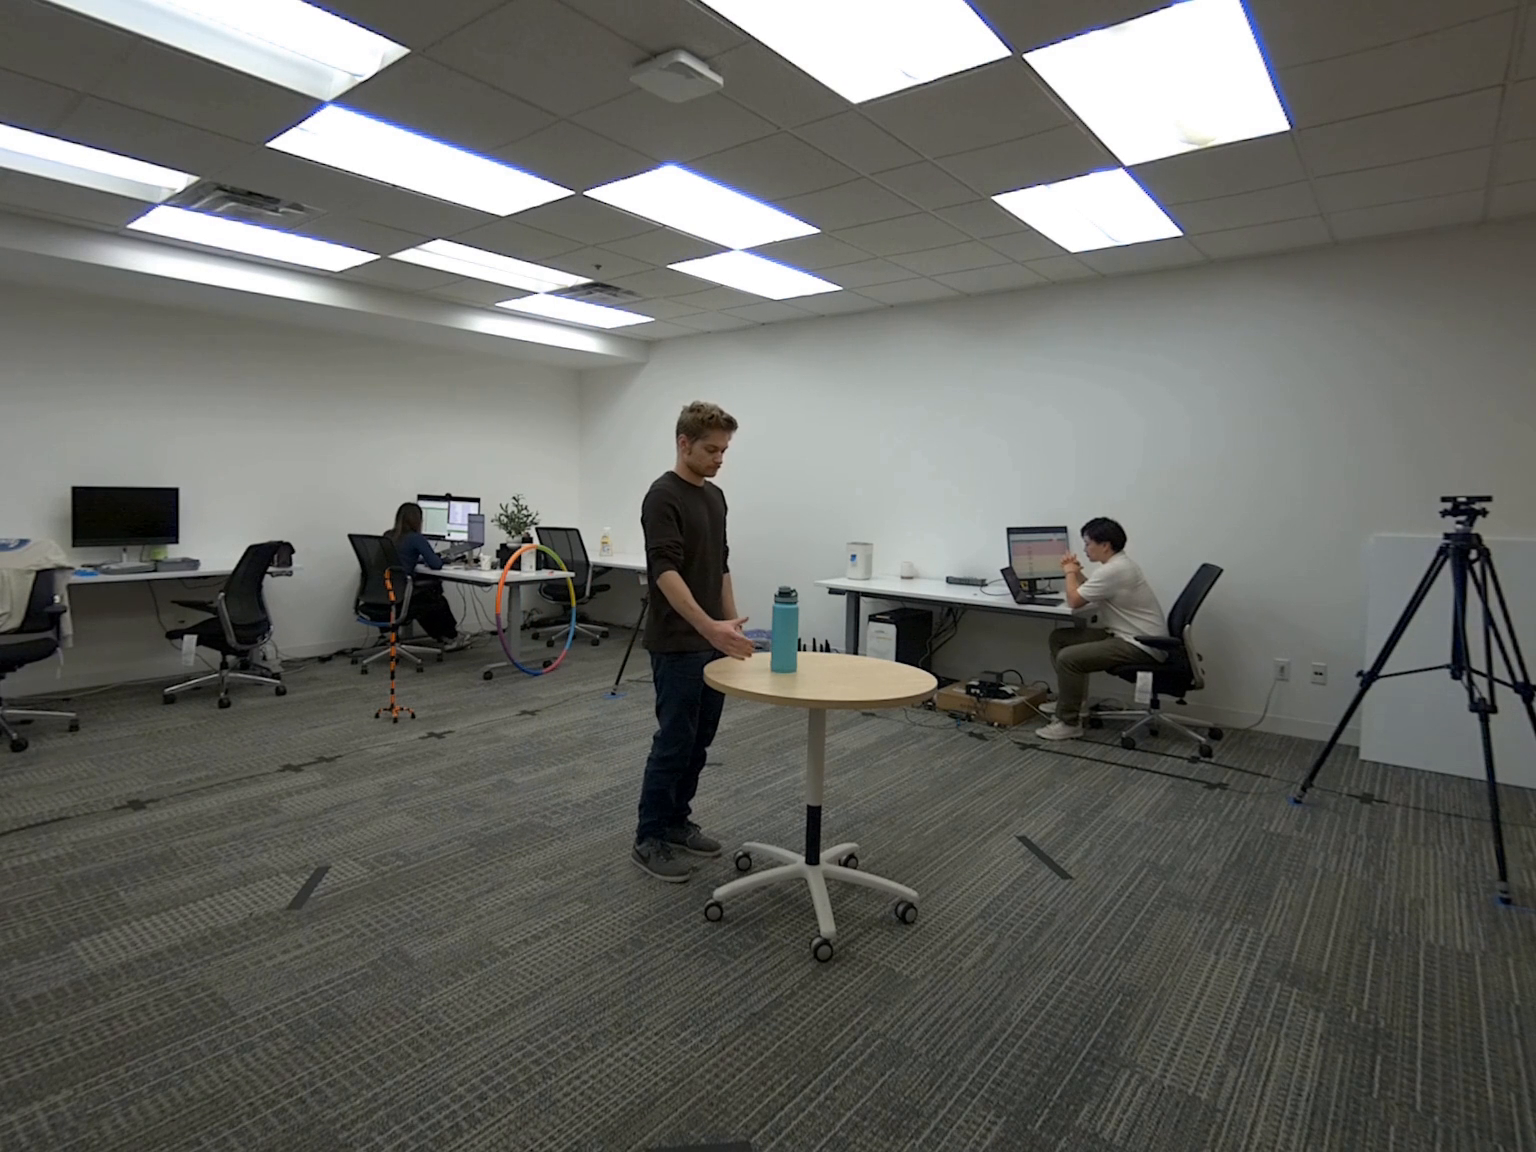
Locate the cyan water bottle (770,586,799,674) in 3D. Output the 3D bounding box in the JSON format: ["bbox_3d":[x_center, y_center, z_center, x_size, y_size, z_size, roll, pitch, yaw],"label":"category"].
[{"bbox_3d":[0.054,0.176,2.849,0.092,0.282,0.093,2,3,-2],"label":"cyan water bottle"}]
